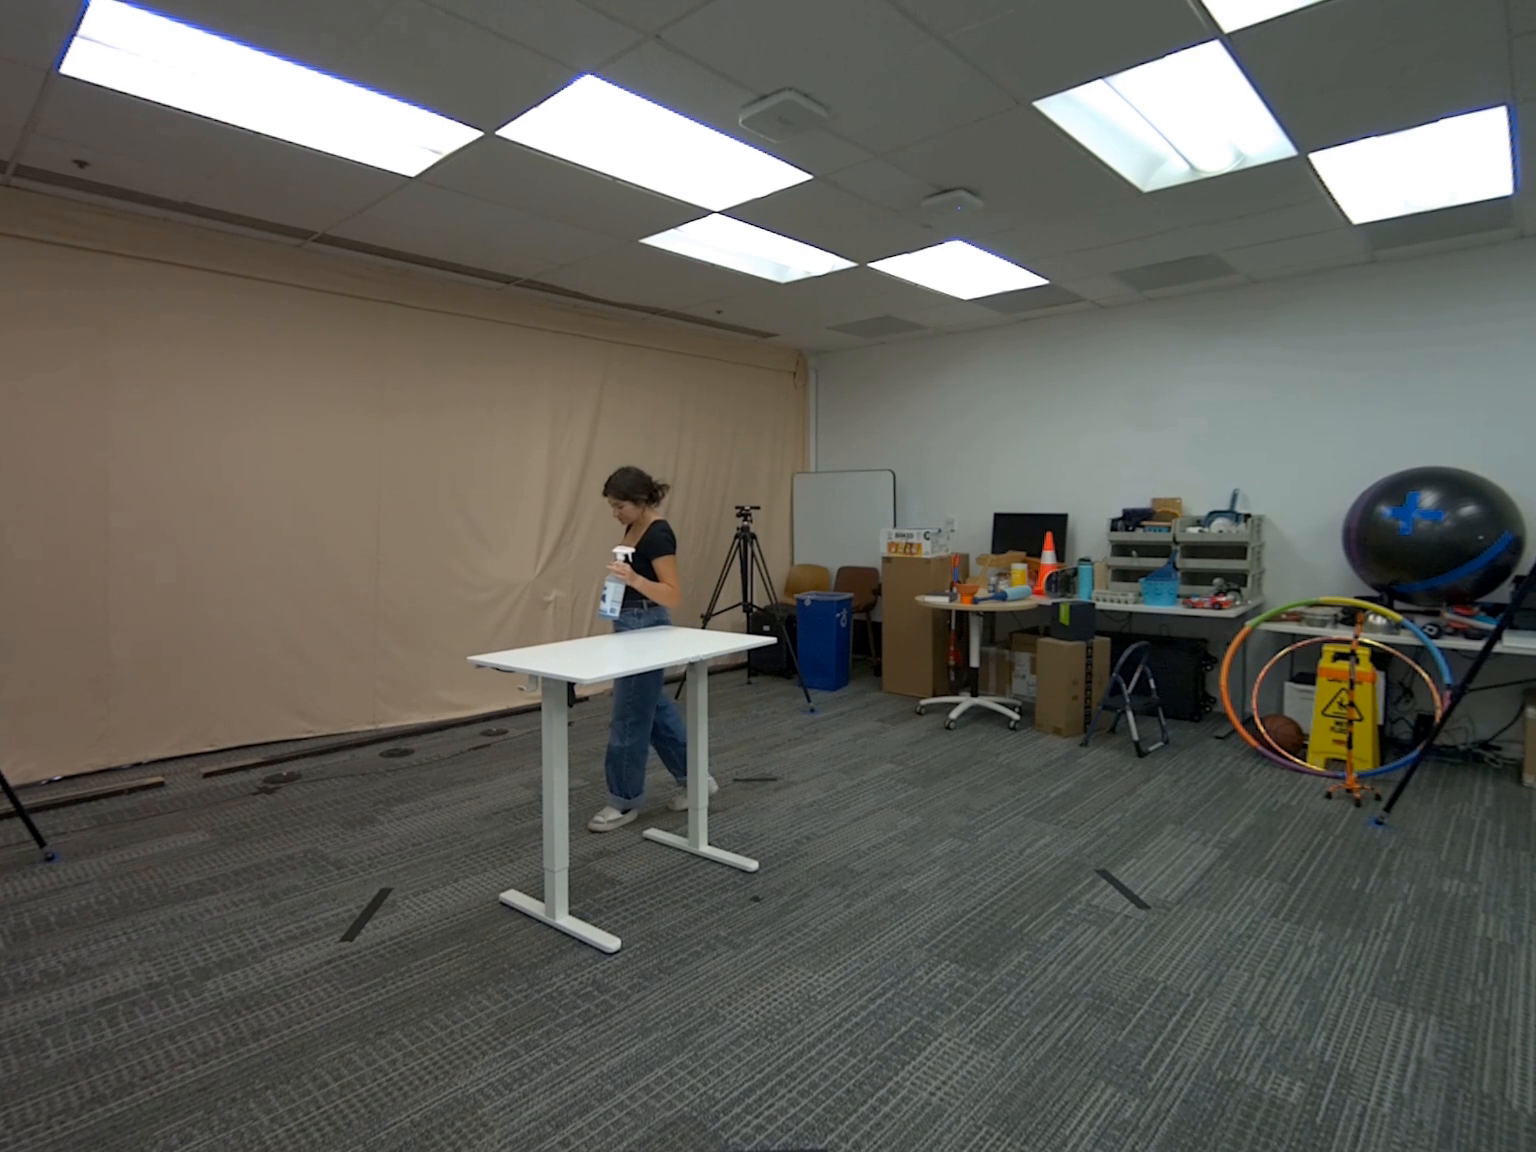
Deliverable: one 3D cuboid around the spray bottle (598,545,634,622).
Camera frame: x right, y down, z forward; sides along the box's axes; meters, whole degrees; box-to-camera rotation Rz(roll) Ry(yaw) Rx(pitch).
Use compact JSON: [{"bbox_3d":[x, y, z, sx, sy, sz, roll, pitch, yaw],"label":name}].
[{"bbox_3d":[-0.615,0.023,3.409,0.093,0.297,0.084,11,-1,34],"label":"spray bottle"}]
